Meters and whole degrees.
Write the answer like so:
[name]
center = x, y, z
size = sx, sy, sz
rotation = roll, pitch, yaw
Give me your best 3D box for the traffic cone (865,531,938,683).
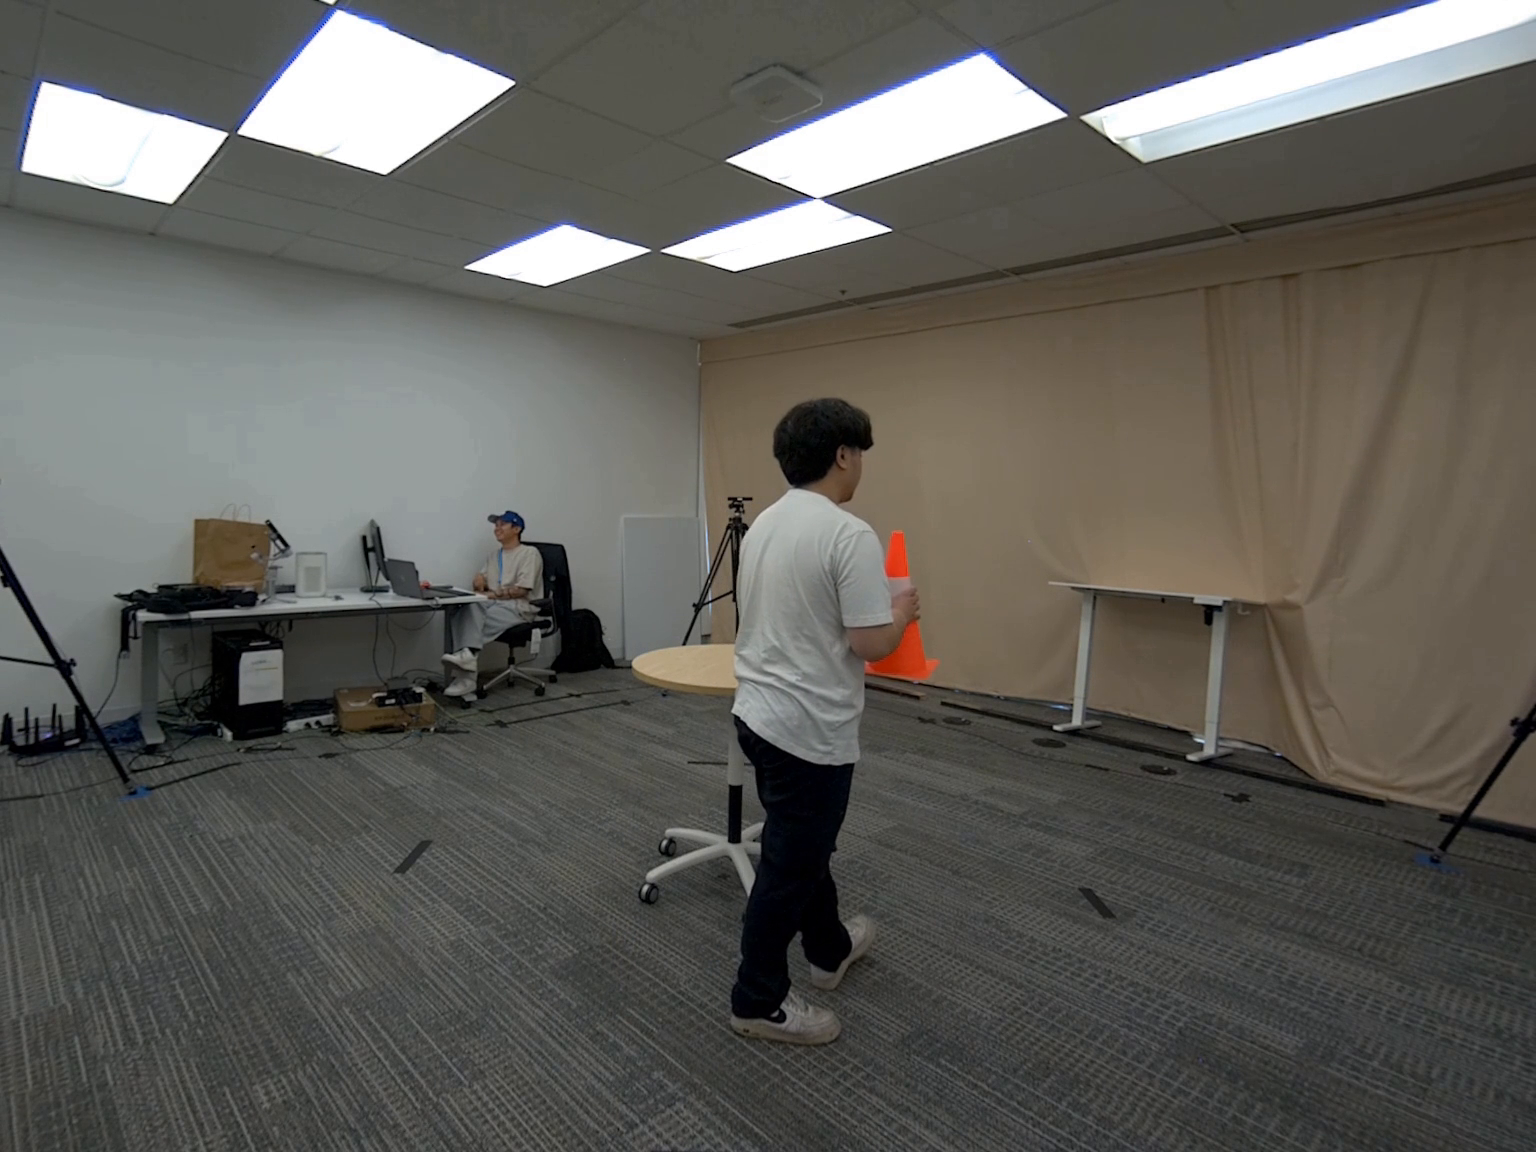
[traffic cone]
center = 0.352, 0.069, 2.340
size = 0.207, 0.382, 0.202
rotation = 3, 8, 27
